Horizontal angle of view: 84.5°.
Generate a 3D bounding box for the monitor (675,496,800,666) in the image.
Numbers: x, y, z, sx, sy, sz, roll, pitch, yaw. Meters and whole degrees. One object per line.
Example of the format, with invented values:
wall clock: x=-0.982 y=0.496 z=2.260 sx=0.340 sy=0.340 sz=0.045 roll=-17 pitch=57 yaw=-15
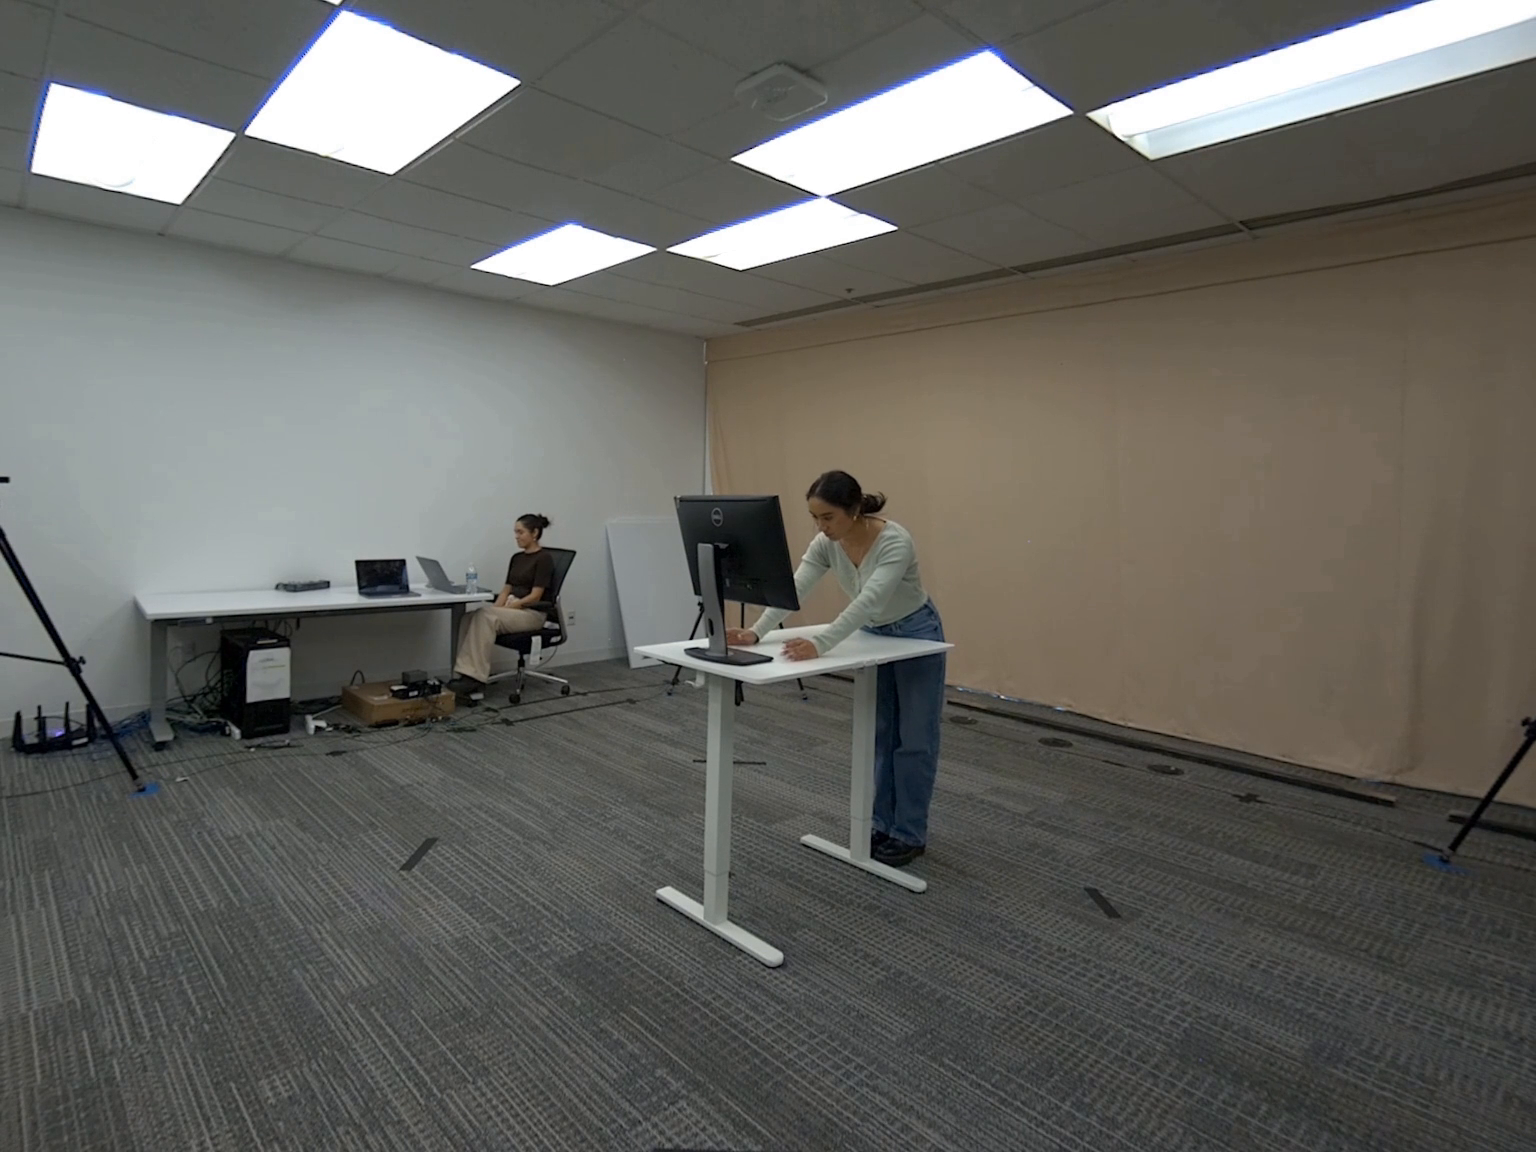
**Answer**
monitor: x=-0.136 y=0.010 z=2.630 sx=0.183 sy=0.521 sz=0.552 roll=-5 pitch=6 yaw=-40
